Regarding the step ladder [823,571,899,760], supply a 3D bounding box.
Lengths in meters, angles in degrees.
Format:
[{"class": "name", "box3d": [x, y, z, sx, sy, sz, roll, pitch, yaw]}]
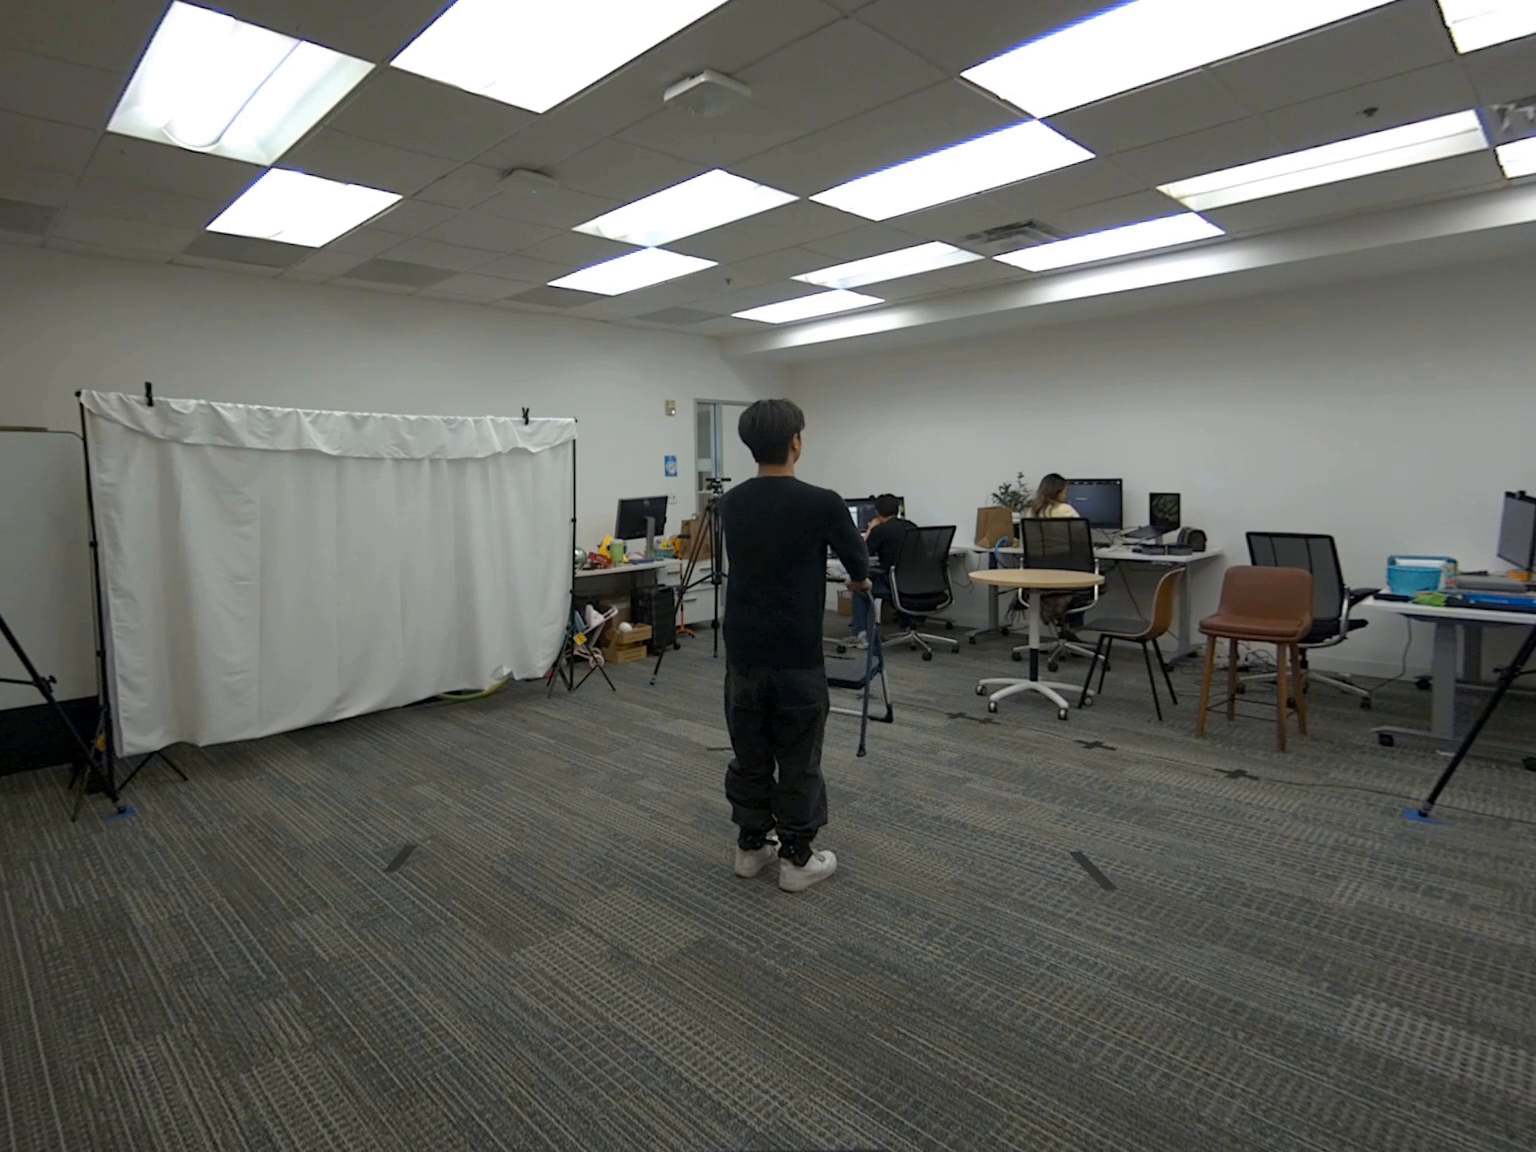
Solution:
[{"class": "step ladder", "box3d": [0.234, 0.320, 3.334, 0.442, 0.600, 0.343, 4, 12, 30]}]
